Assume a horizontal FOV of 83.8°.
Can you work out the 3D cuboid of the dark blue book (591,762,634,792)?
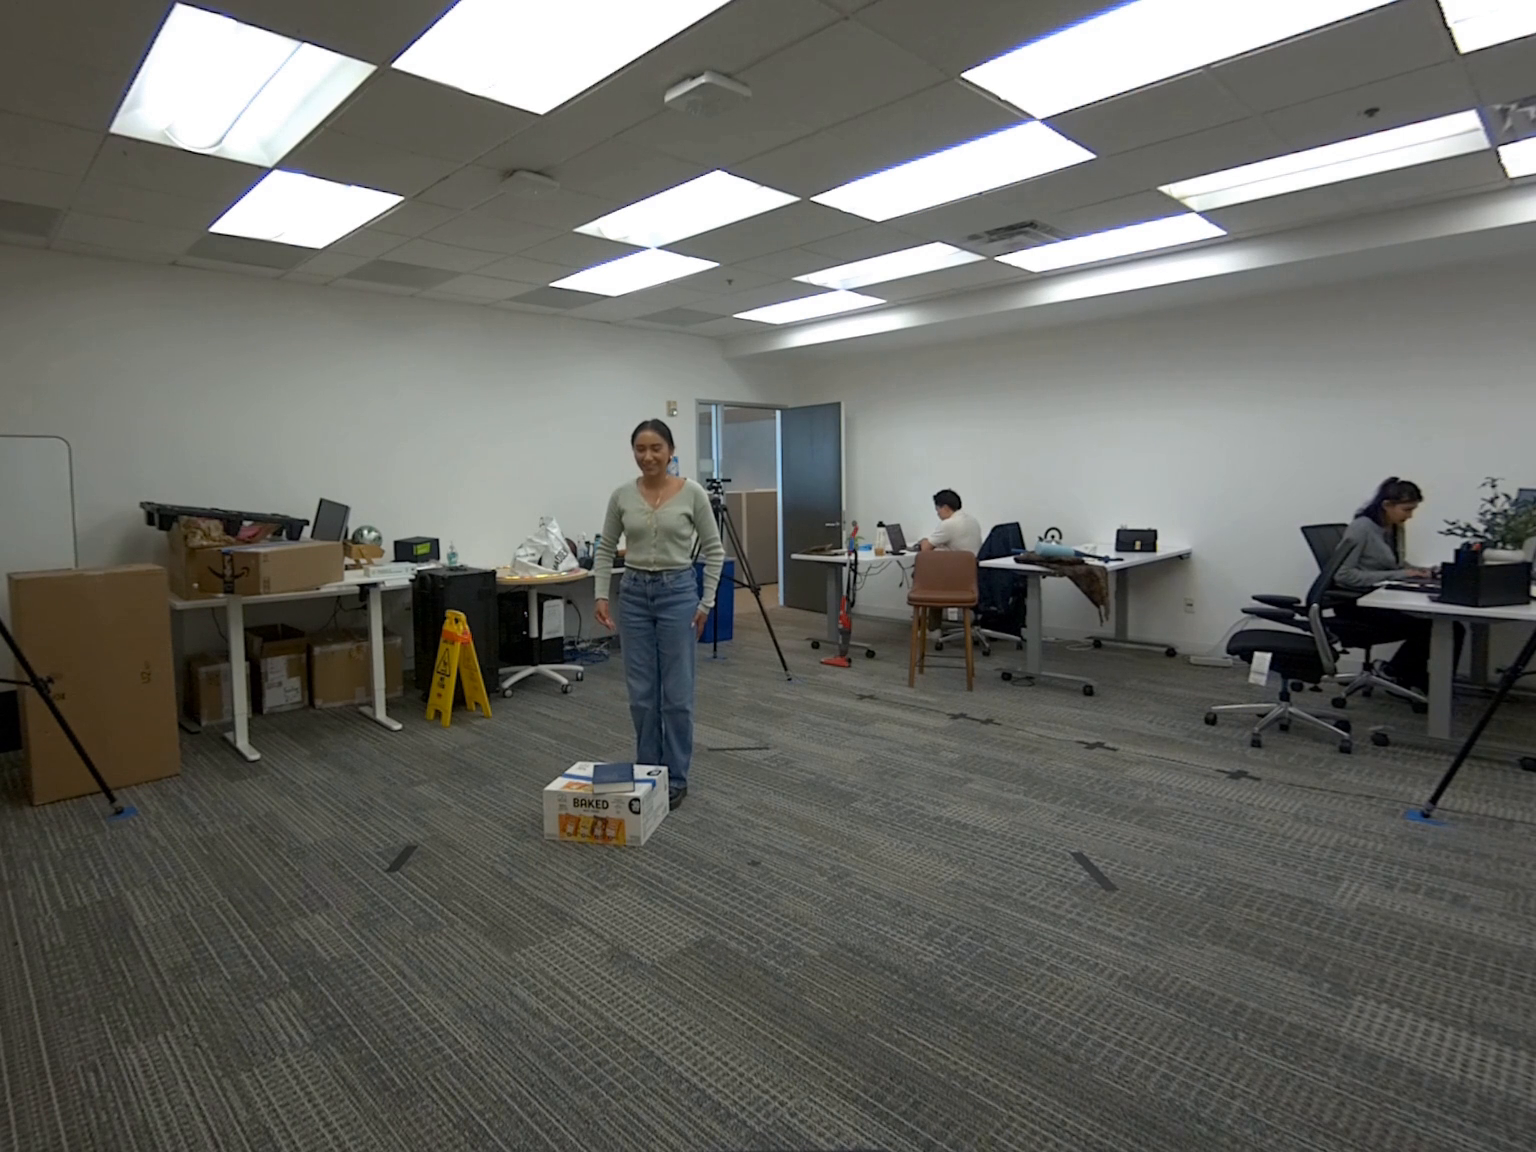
[{"bbox_3d":[-0.618,0.807,3.396,0.162,0.045,0.248,-4,6,-9],"label":"dark blue book"}]
